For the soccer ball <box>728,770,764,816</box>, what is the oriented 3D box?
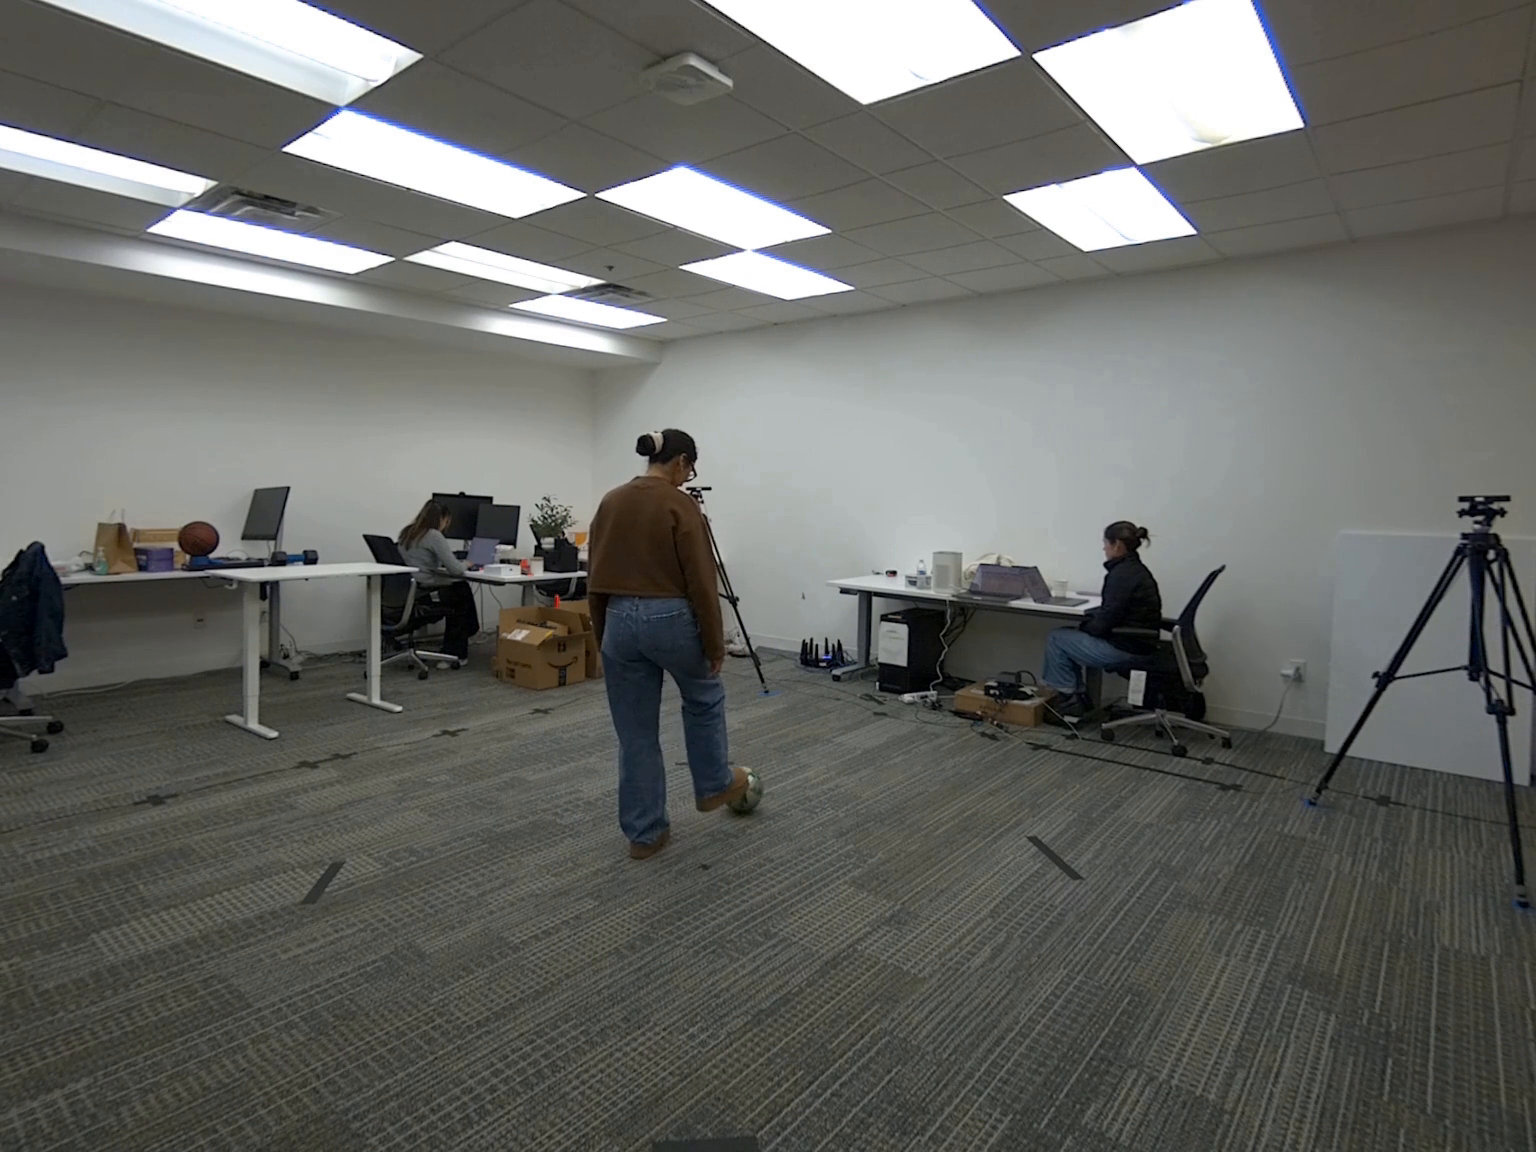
[{"bbox_3d":[-0.125,0.914,3.672,0.187,0.187,0.188,1,4,-2],"label":"soccer ball"}]
